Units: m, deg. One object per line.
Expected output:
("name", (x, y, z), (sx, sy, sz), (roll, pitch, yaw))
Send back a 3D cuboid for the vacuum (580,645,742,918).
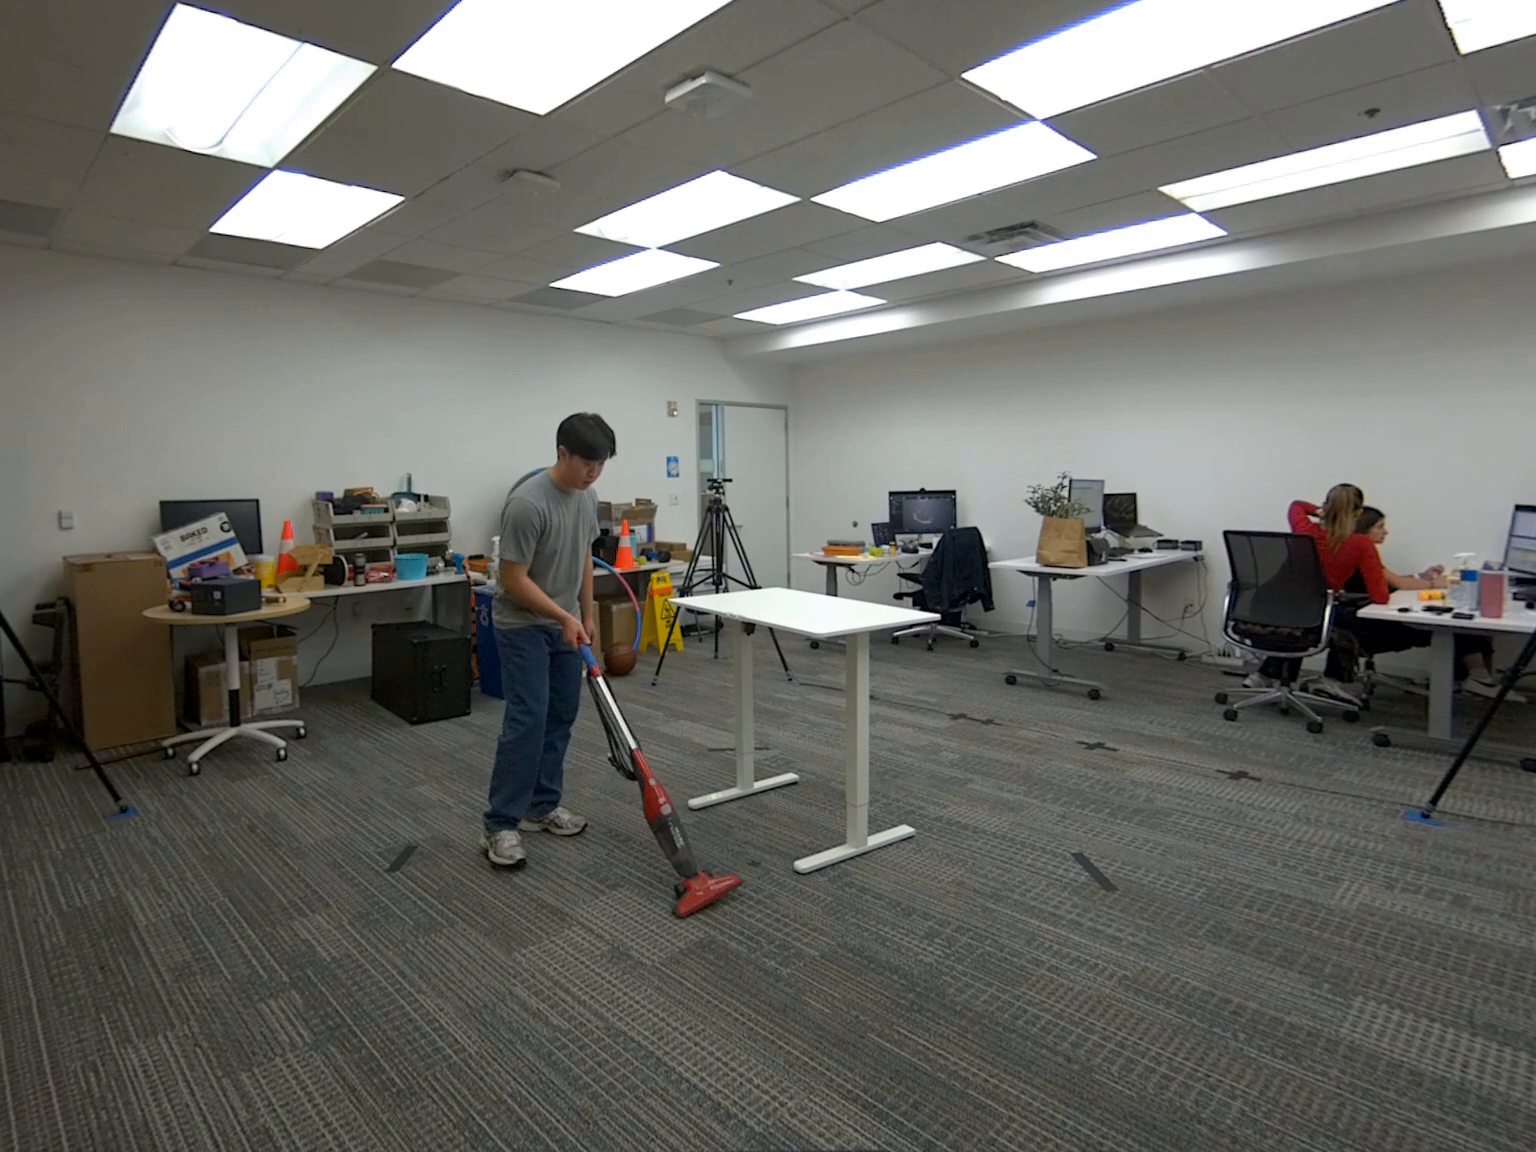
("vacuum", (-0.478, 0.634, 3.031), (0.247, 1.078, 0.143), (-15, -27, -35))
